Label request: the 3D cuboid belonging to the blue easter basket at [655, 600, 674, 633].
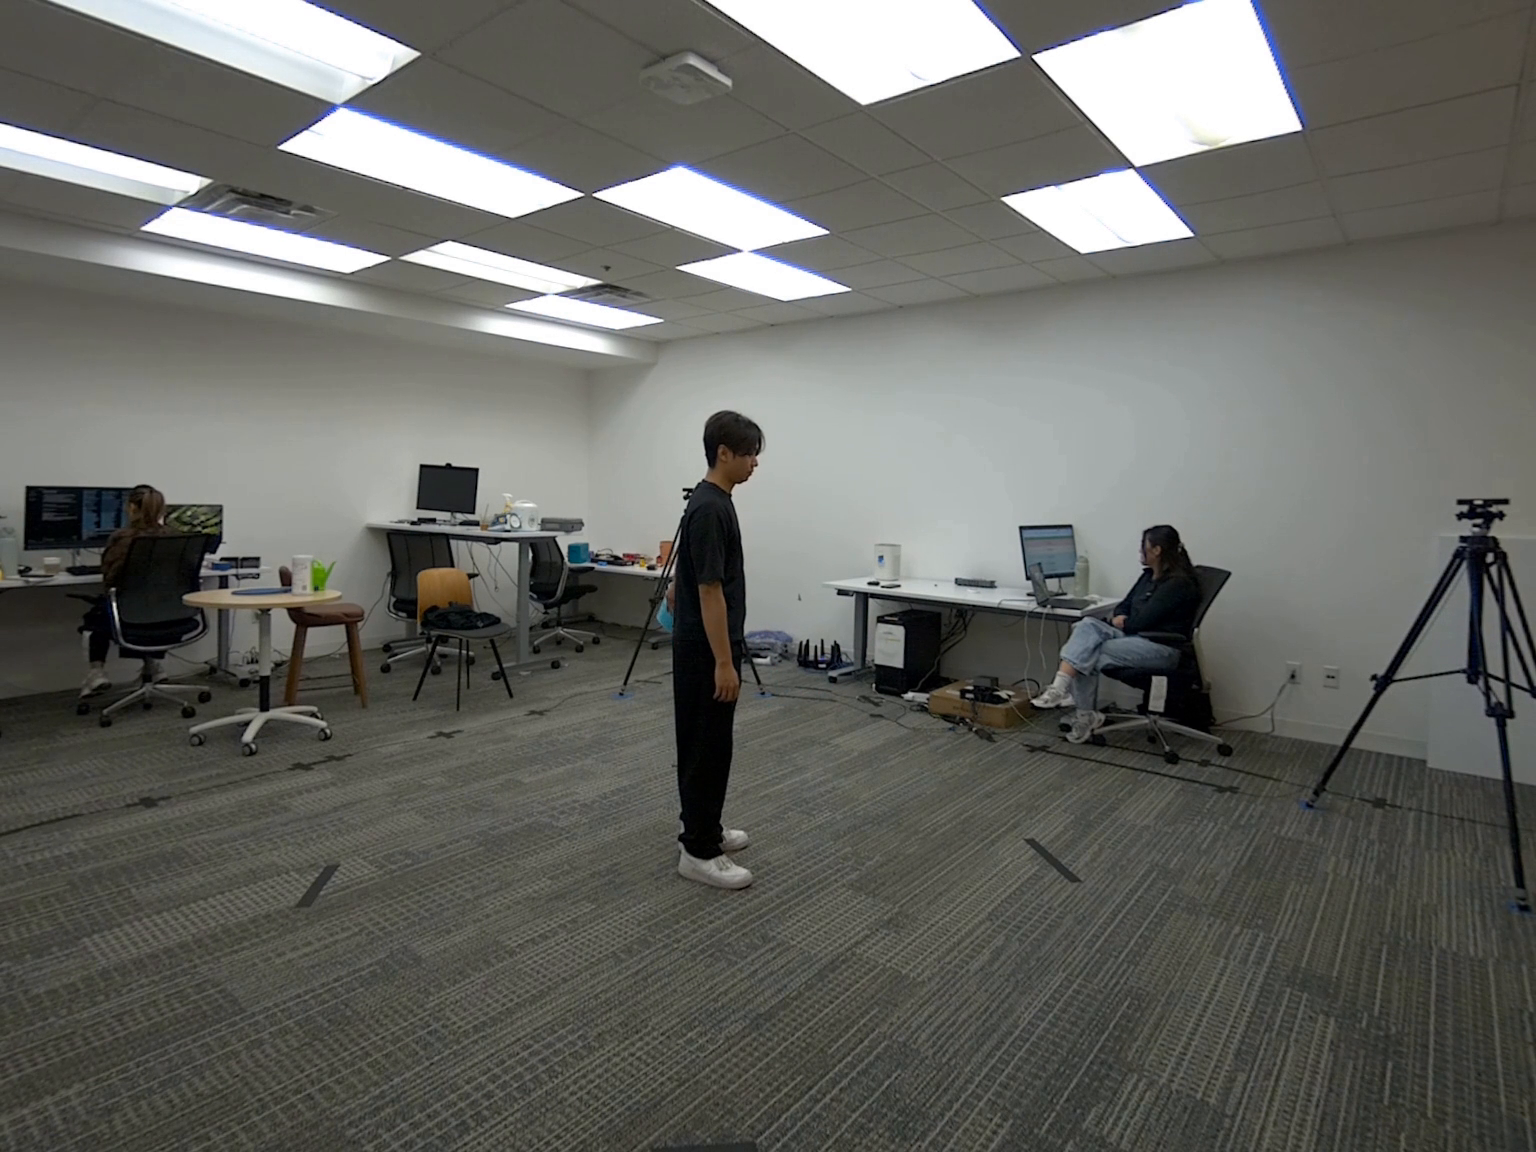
[{"bbox_3d":[-0.375,0.167,3.800,0.240,0.155,0.248,29,17,-12],"label":"blue easter basket"}]
